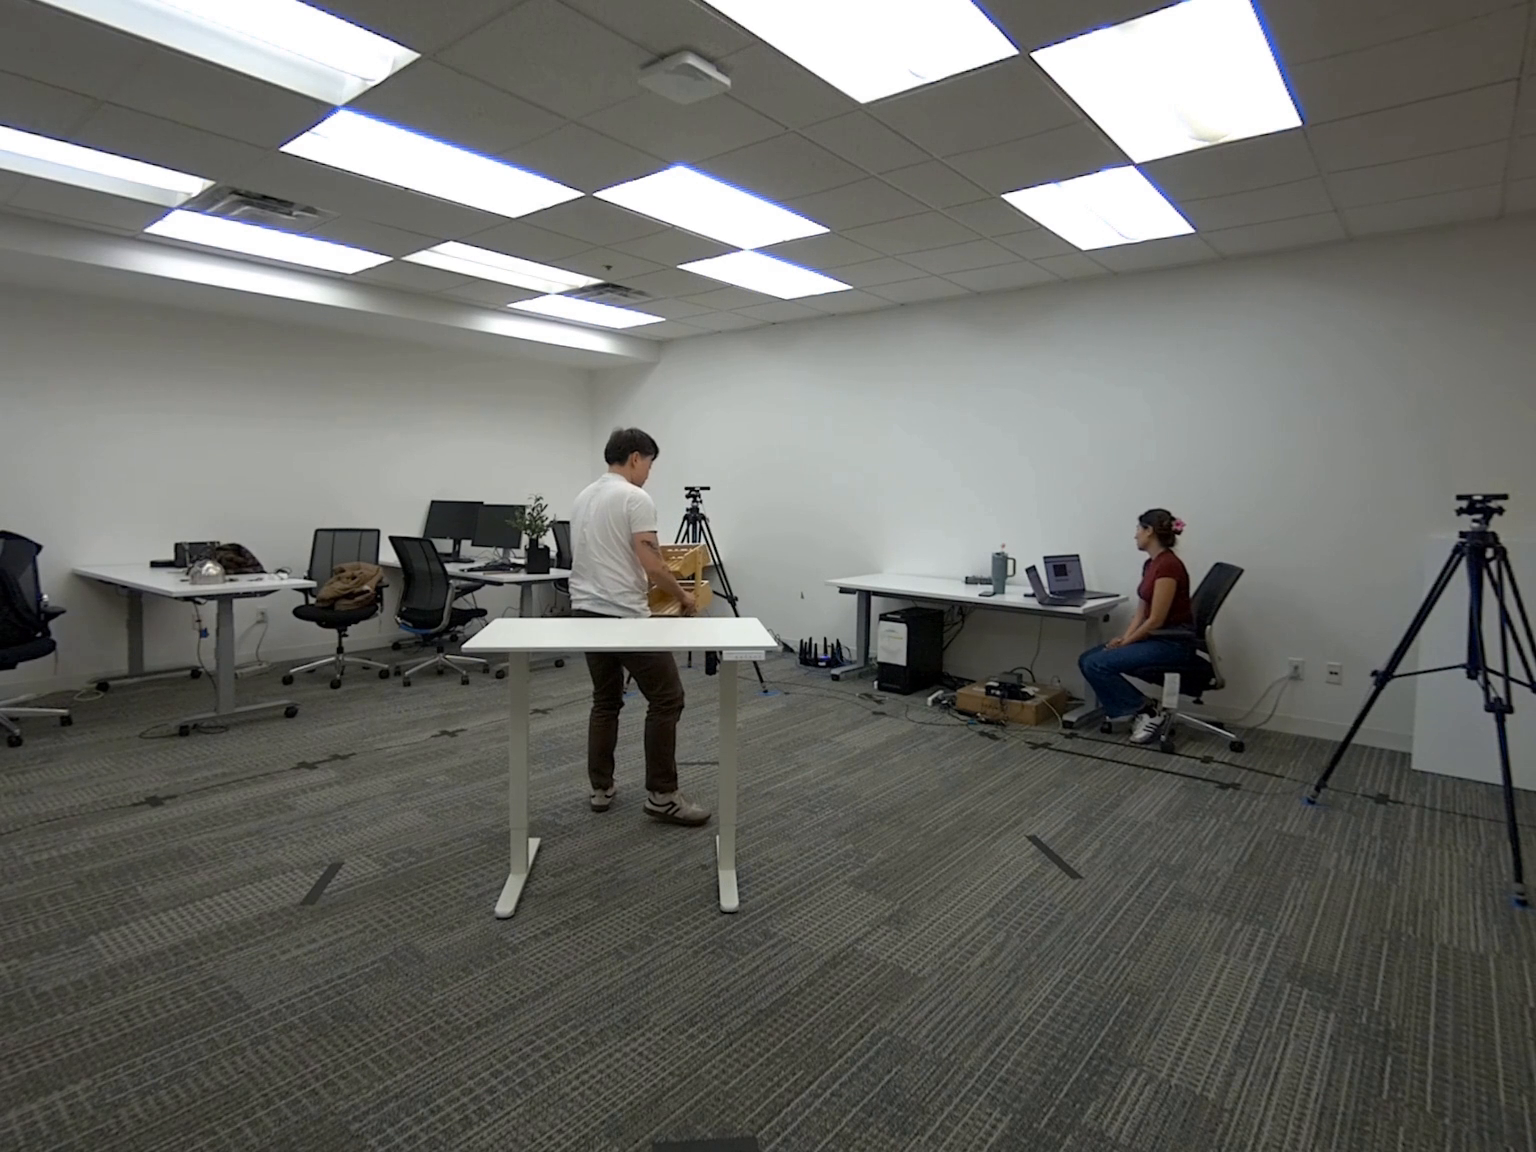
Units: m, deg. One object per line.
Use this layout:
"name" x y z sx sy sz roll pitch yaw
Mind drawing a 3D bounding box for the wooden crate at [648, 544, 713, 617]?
"wooden crate" -0.457 0.029 3.880 0.334 0.268 0.299 -2 22 40
